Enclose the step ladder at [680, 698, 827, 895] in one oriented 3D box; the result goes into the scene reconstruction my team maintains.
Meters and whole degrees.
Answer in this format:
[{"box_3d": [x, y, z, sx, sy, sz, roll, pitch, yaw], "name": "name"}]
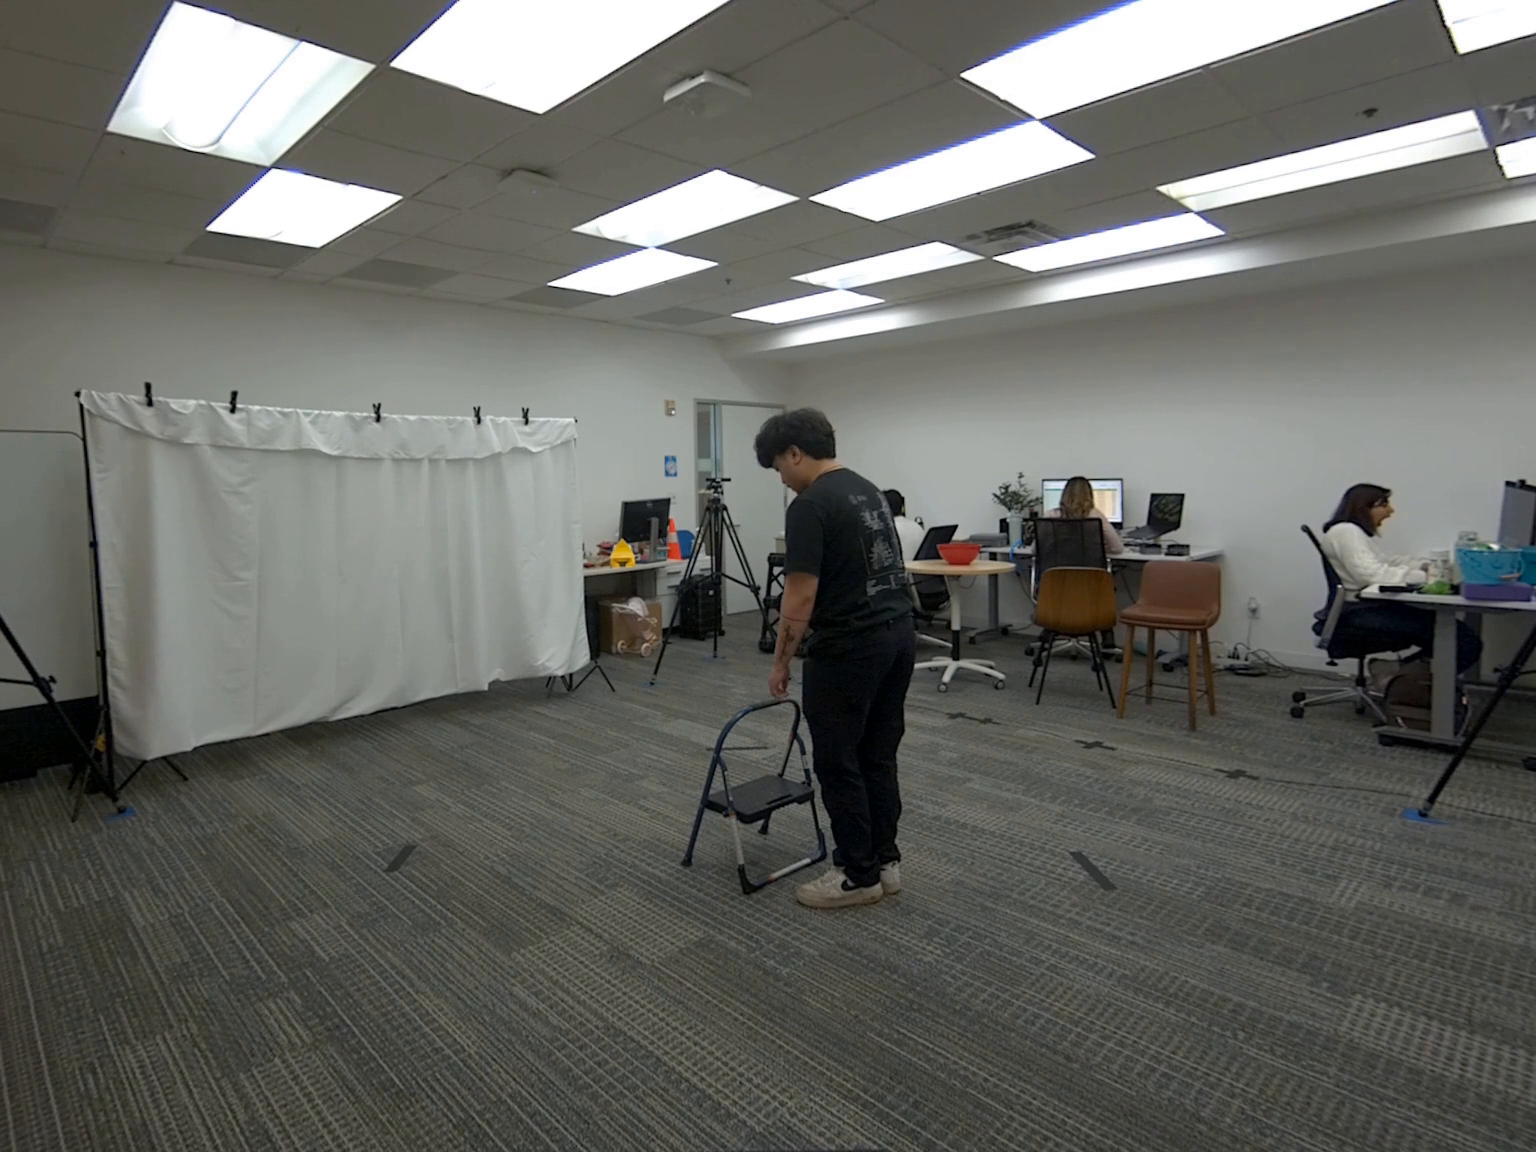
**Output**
[{"box_3d": [-0.050, 0.739, 3.103, 0.419, 0.604, 0.360, -6, 6, -44], "name": "step ladder"}]
